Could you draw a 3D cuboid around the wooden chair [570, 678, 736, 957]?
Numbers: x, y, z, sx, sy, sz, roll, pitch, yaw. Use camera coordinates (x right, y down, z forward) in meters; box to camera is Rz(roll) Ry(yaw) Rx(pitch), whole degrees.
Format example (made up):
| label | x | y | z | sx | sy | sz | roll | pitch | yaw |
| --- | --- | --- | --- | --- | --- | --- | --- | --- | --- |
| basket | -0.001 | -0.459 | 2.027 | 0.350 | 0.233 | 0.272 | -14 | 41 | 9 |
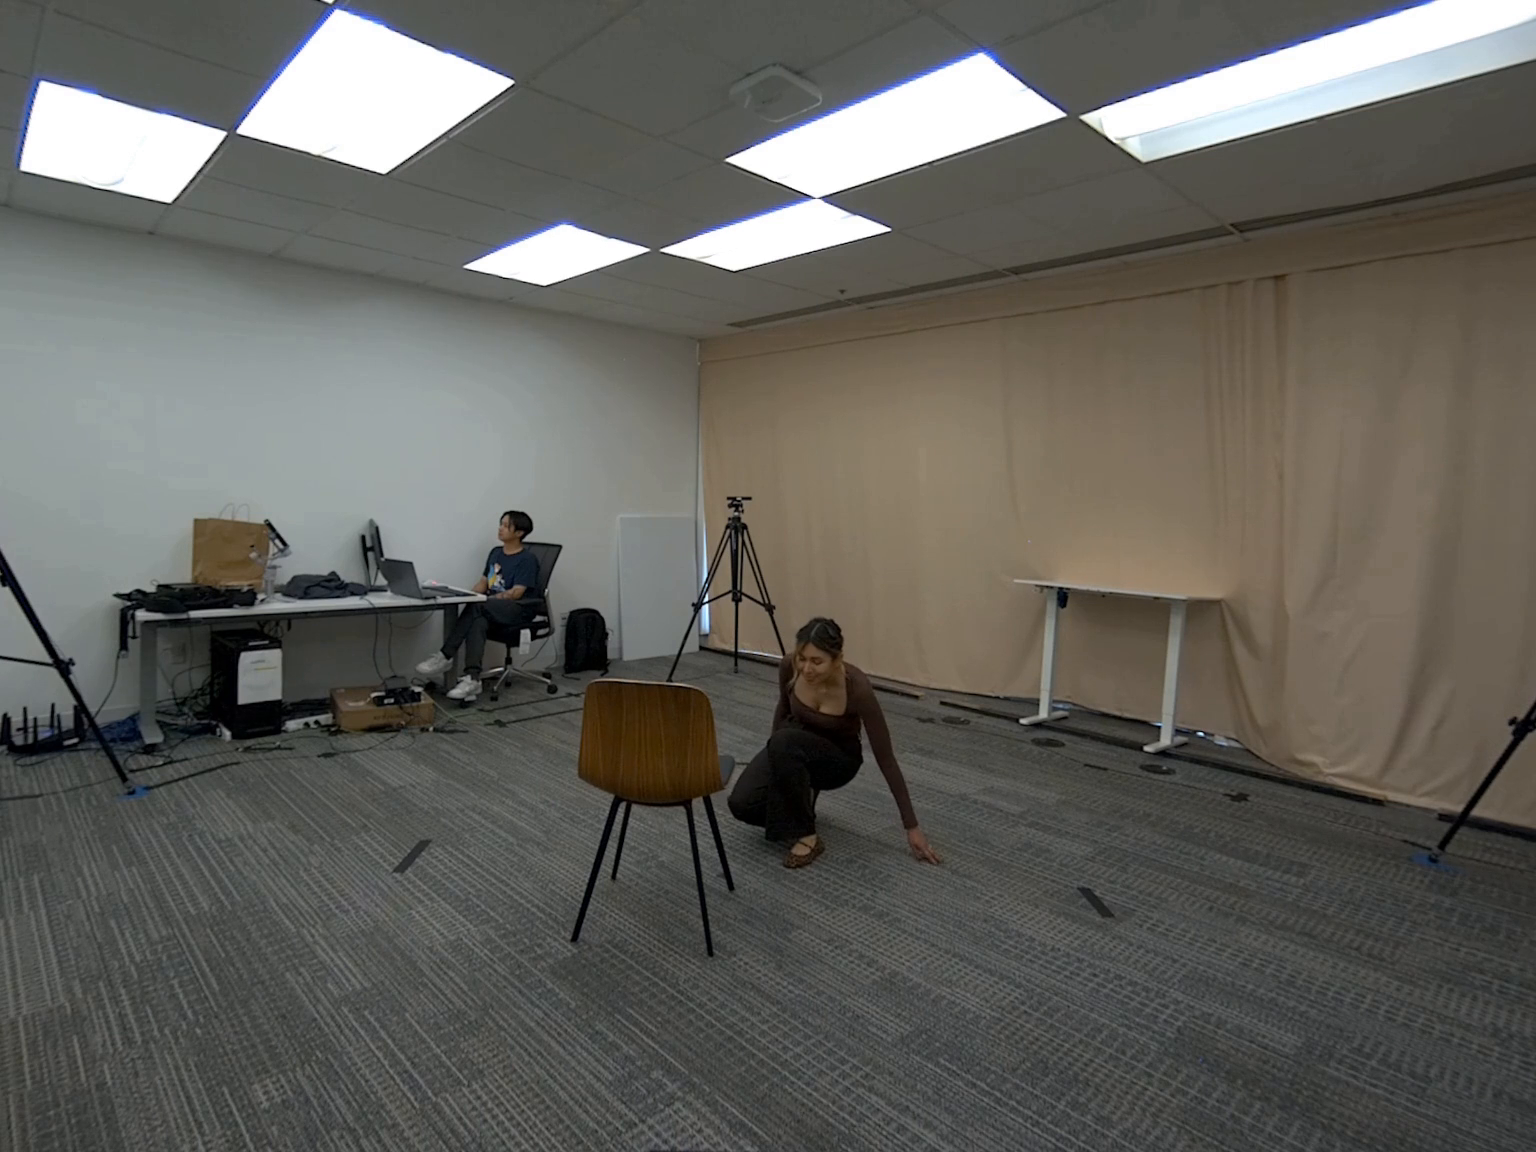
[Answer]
| label | x | y | z | sx | sy | sz | roll | pitch | yaw |
| --- | --- | --- | --- | --- | --- | --- | --- | --- | --- |
| wooden chair | -0.364 | 0.703 | 2.780 | 0.481 | 0.873 | 0.522 | 1 | 7 | 7 |
